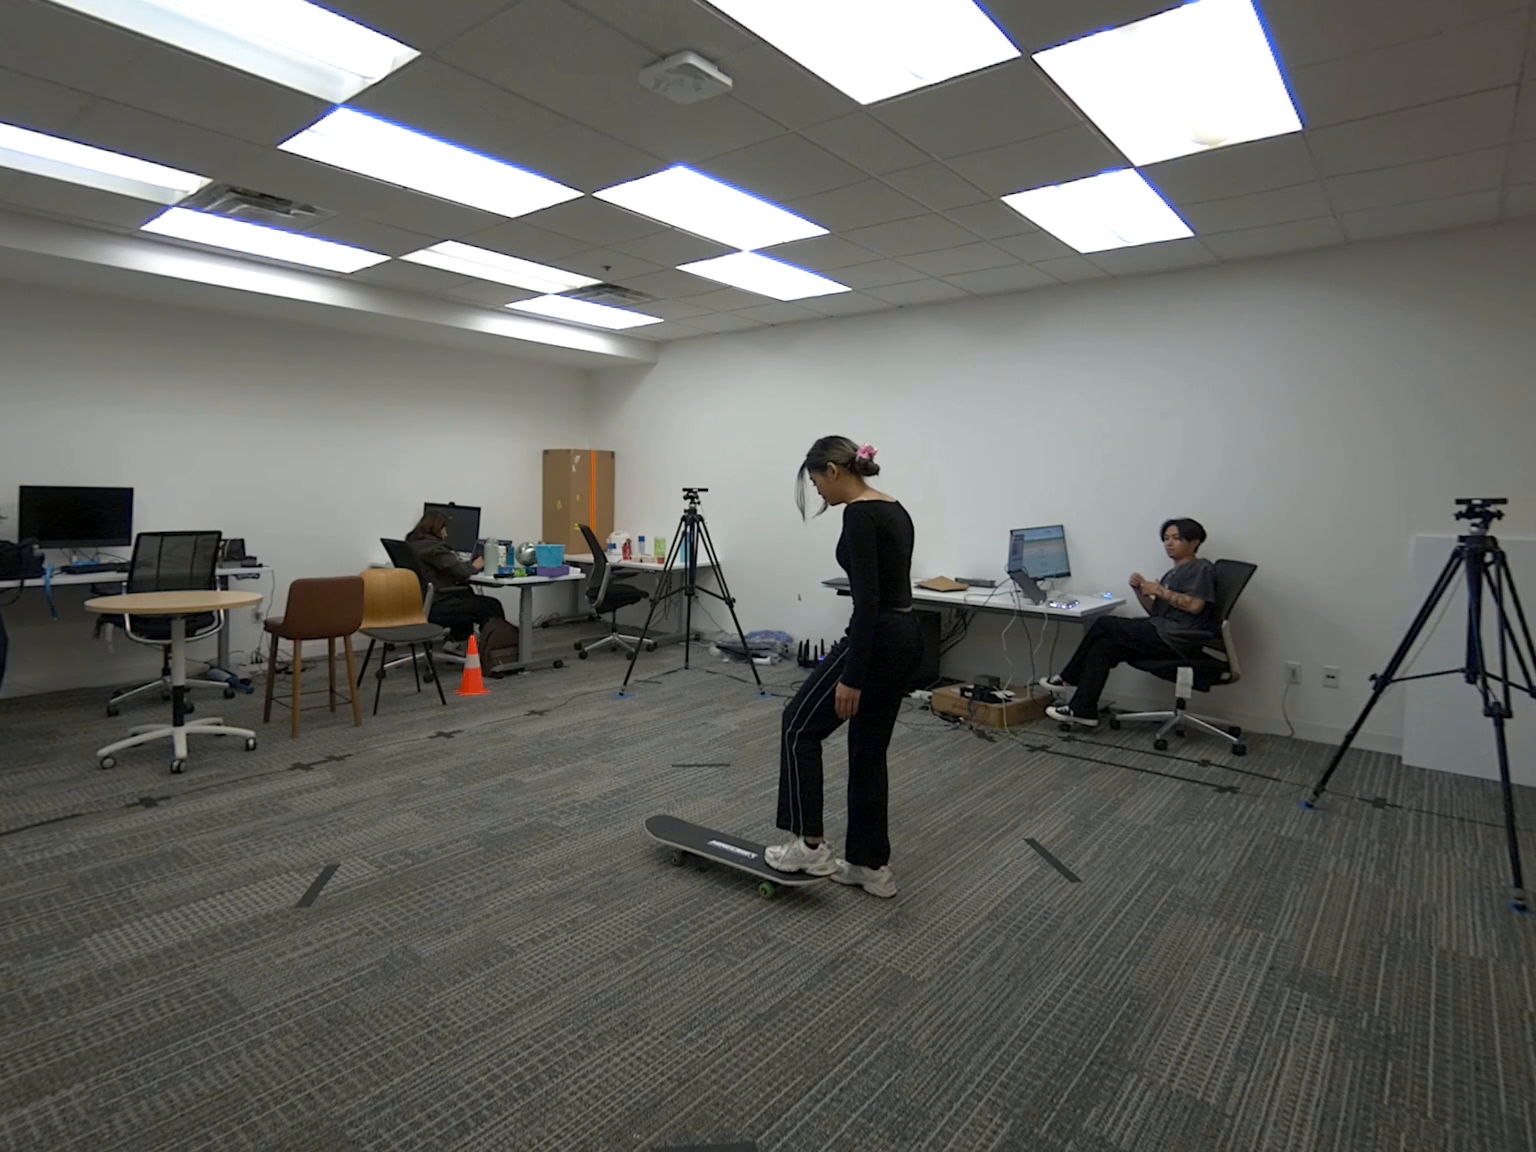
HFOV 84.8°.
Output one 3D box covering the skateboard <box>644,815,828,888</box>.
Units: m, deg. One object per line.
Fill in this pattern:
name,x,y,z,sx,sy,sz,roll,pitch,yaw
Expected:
skateboard,-0.134,1.018,3.070,0.811,0.110,0.188,6,6,34
